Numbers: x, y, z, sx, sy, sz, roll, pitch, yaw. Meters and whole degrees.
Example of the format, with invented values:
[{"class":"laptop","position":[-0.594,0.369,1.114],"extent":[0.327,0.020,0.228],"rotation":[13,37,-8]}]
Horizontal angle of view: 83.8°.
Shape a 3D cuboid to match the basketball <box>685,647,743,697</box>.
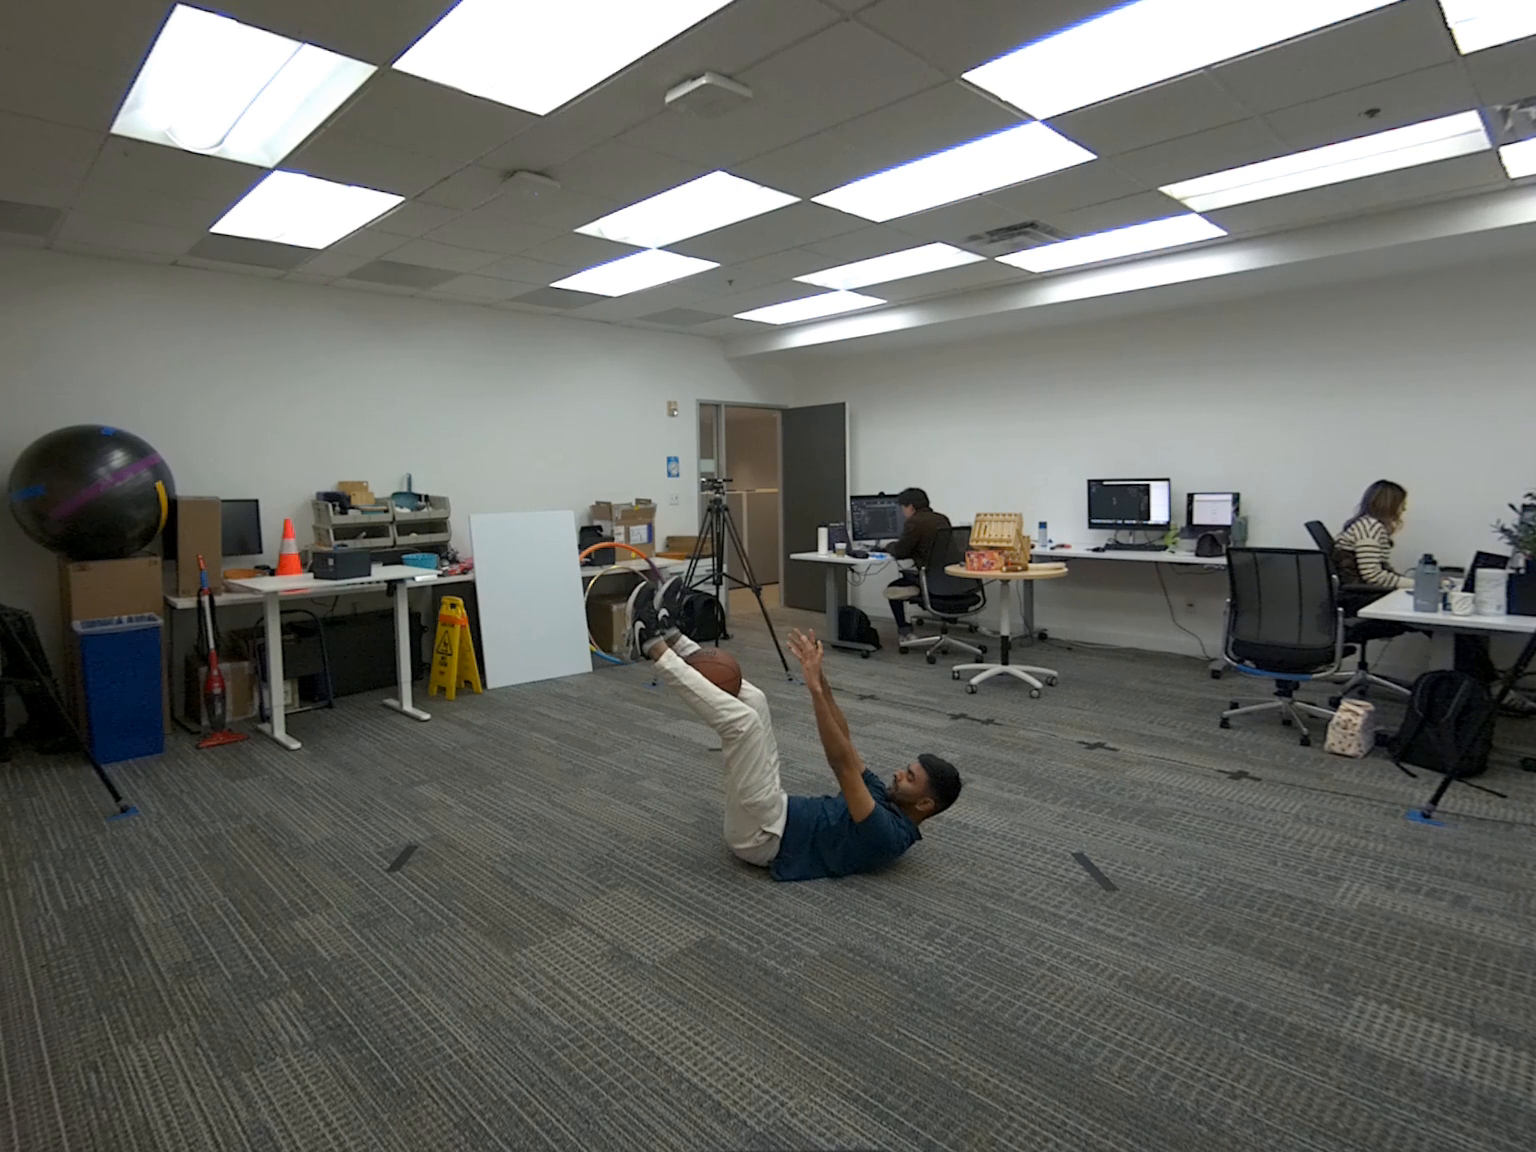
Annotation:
[{"class":"basketball","position":[-0.217,0.386,3.168],"extent":[0.236,0.235,0.237],"rotation":[-1,5,-2]}]
